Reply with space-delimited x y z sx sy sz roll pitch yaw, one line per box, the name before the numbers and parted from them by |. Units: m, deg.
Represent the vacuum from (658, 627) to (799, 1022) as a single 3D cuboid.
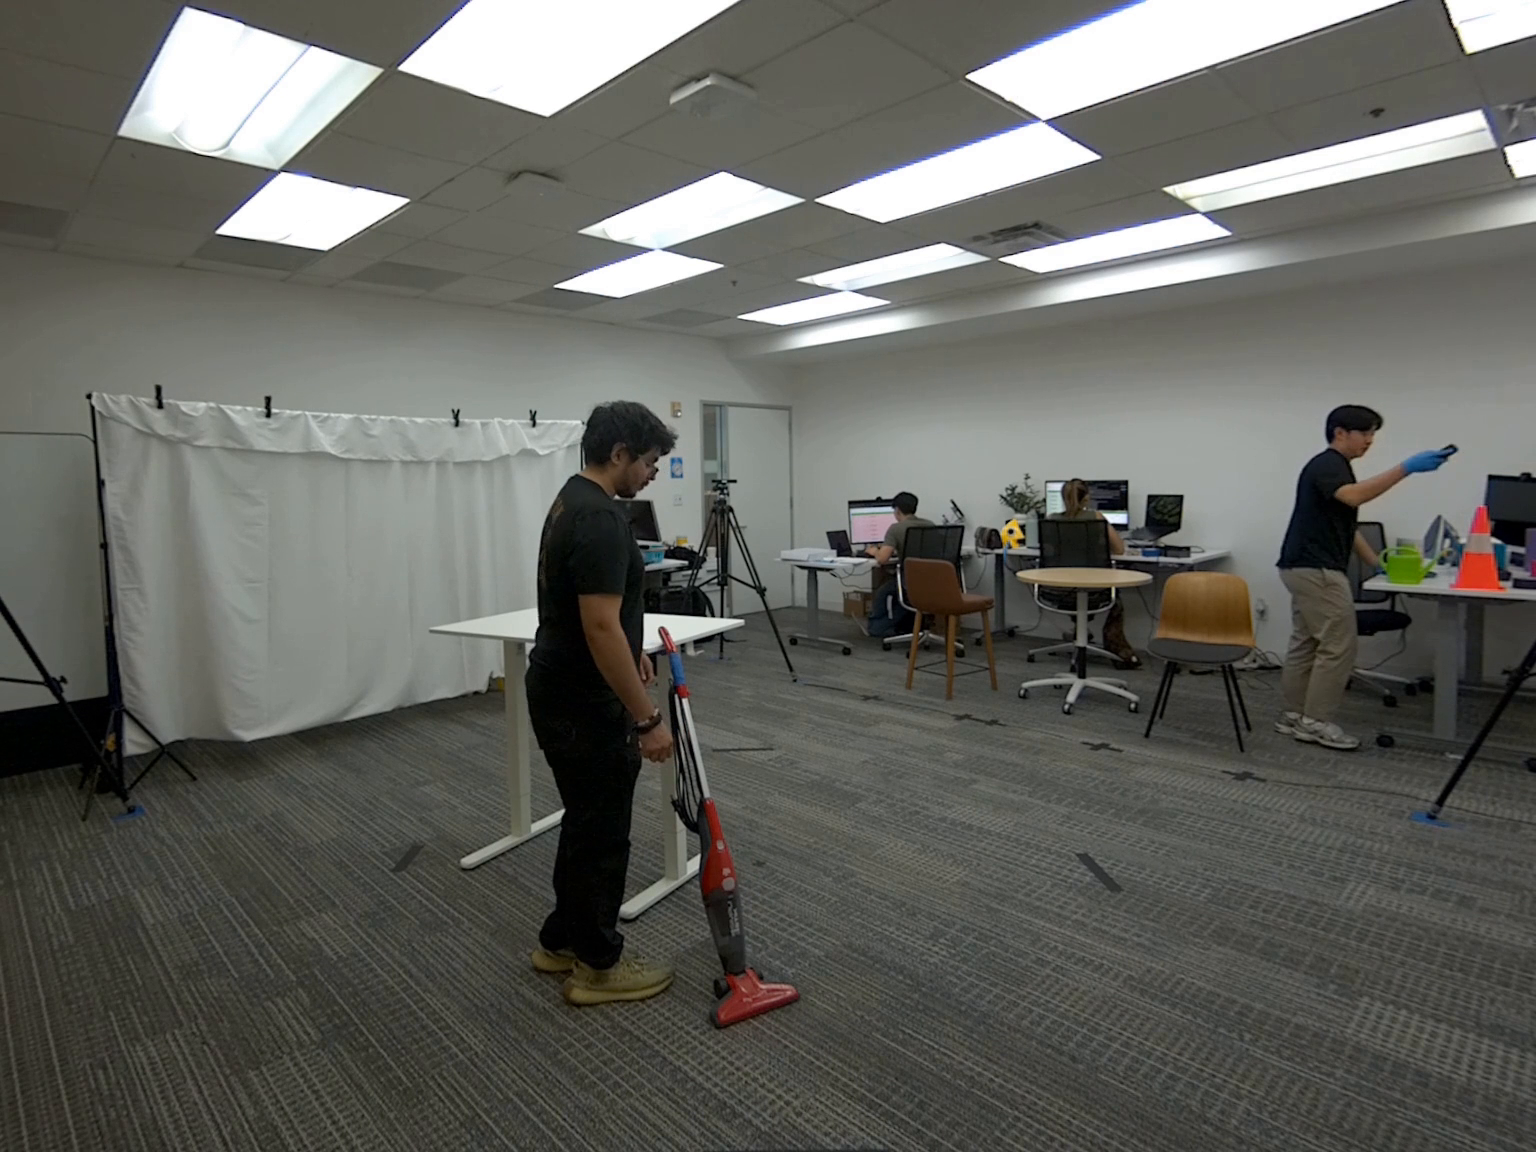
vacuum | -0.198 0.653 2.495 0.245 1.074 0.145 0 -27 -39
